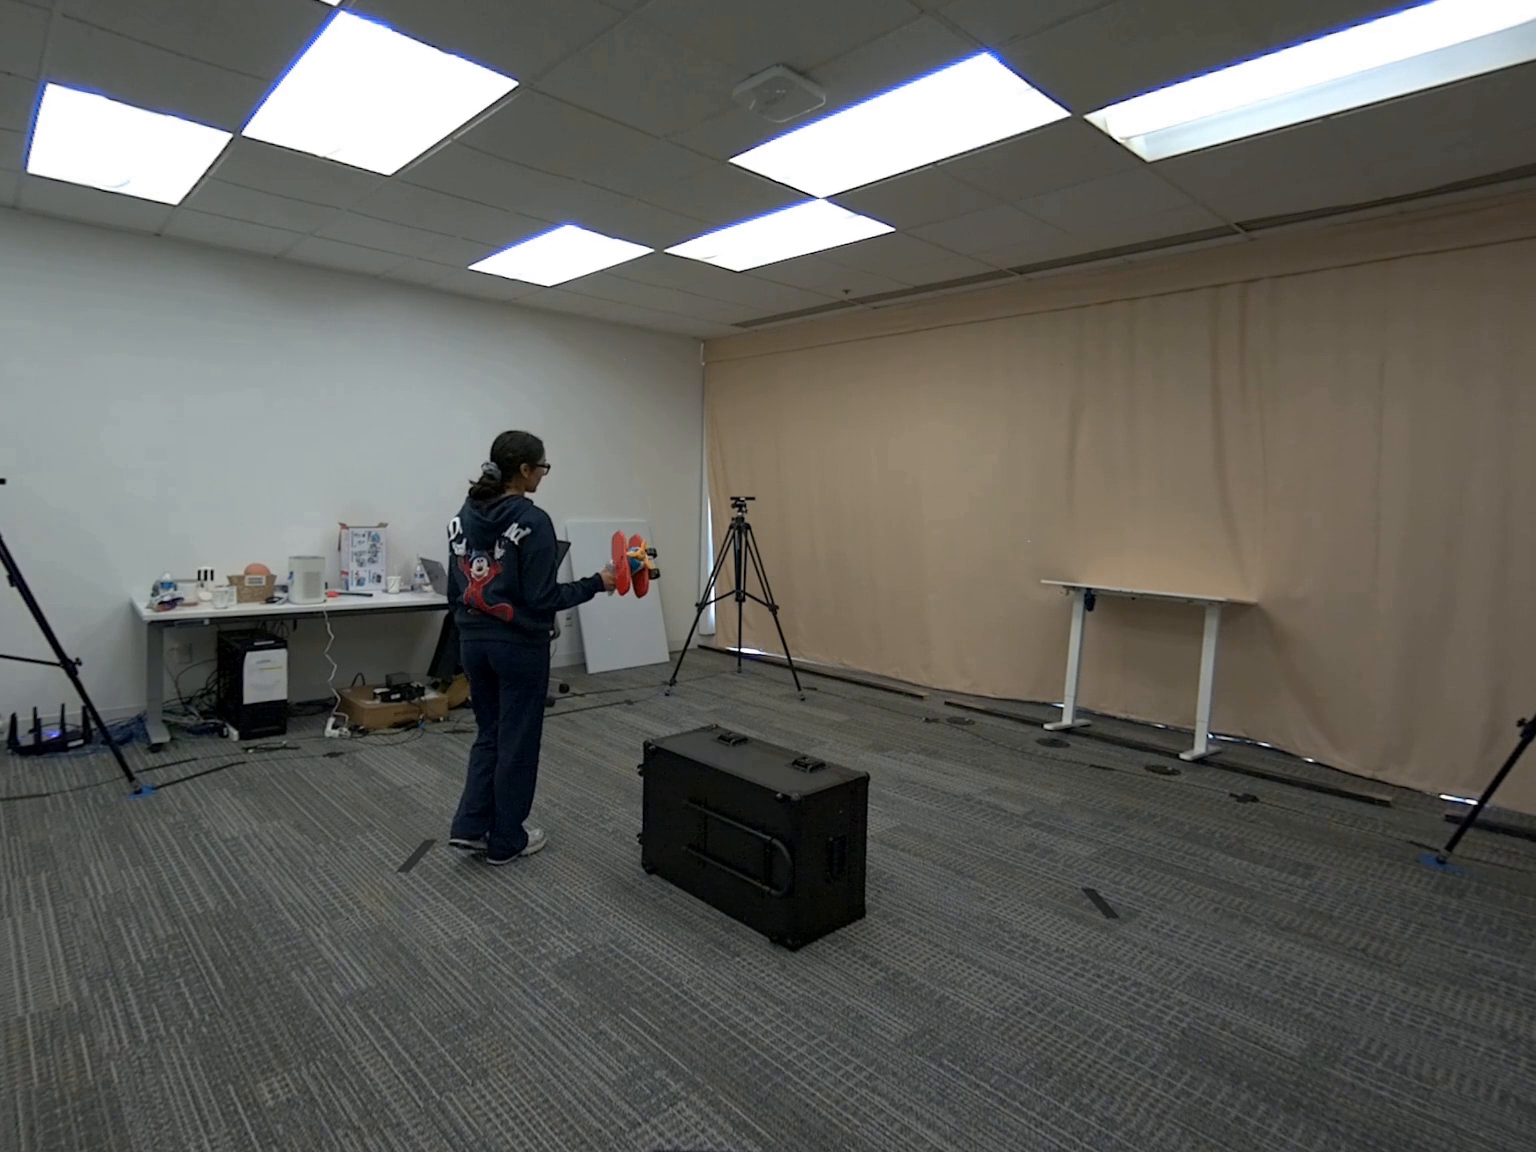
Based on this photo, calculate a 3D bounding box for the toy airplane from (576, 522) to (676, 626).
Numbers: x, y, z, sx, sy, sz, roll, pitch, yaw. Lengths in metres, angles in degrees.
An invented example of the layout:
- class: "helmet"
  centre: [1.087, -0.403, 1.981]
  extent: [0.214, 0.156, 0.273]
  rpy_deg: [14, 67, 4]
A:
- class: "toy airplane"
  centre: [-0.534, -0.010, 3.158]
  extent: [0.152, 0.259, 0.259]
  rpy_deg: [24, 19, -51]
